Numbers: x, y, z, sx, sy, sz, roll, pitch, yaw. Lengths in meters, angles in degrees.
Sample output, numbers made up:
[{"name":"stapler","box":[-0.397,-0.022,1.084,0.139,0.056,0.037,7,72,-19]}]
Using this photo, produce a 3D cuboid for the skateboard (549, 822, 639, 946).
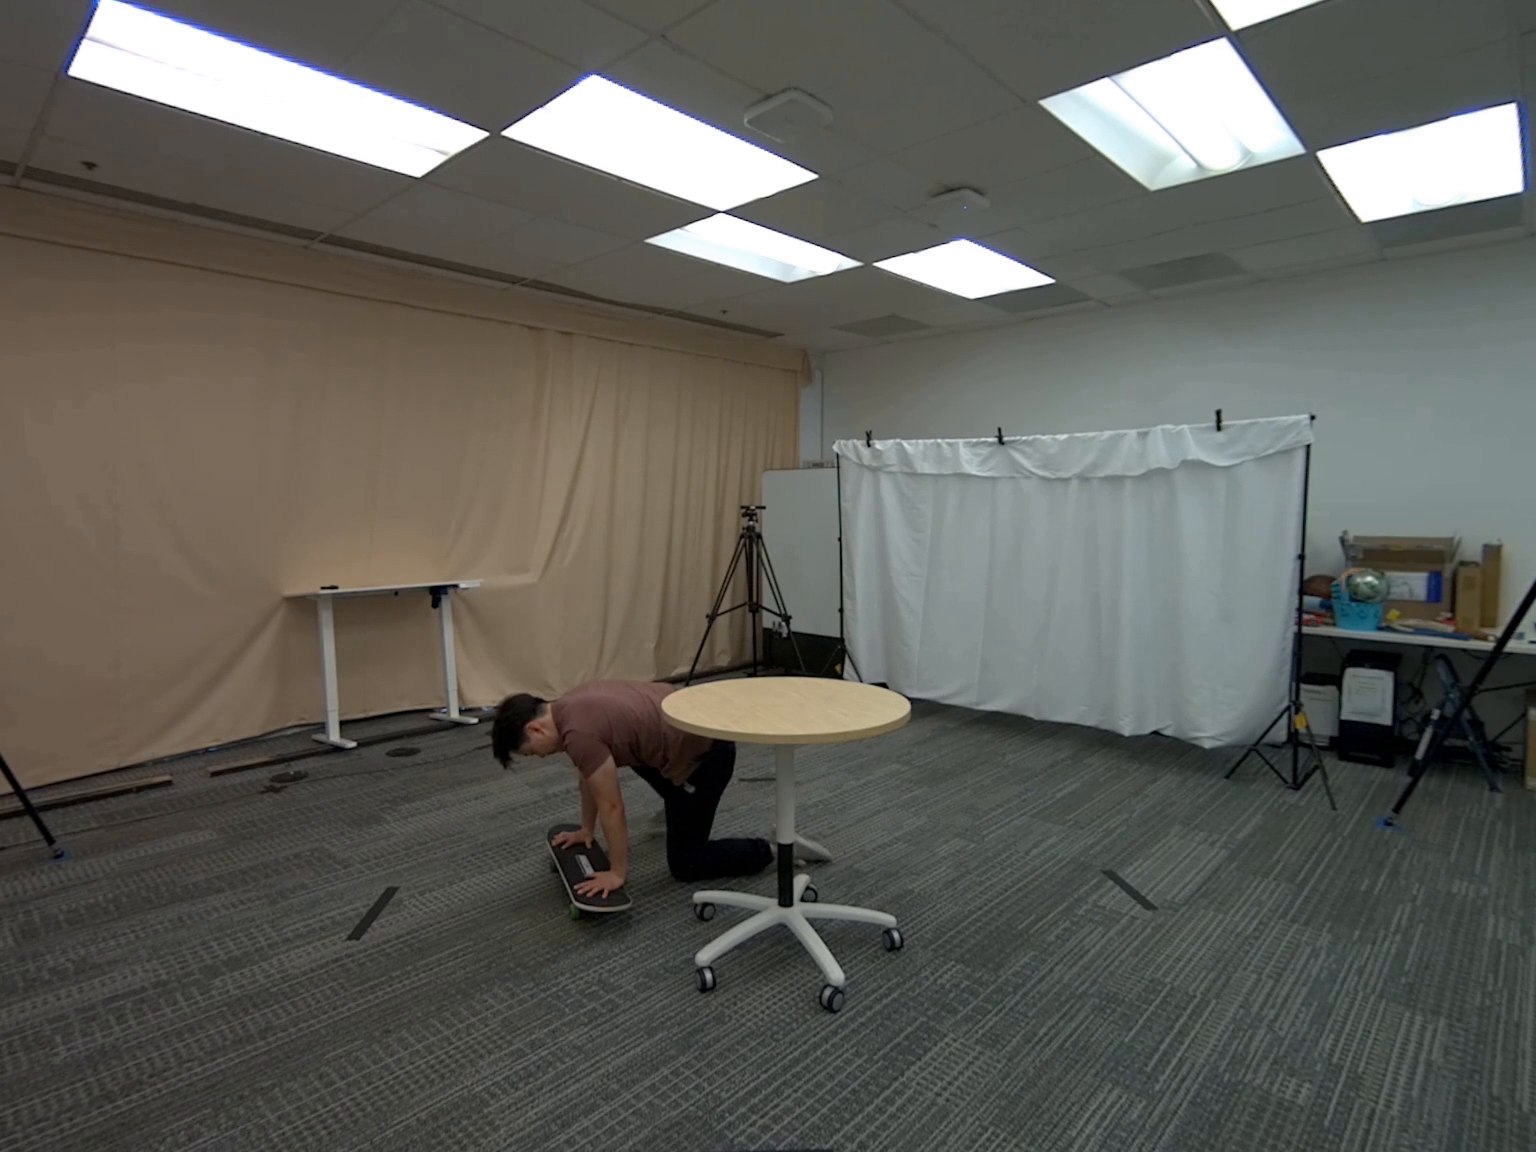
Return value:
[{"name":"skateboard","box":[-0.652,1.083,3.069,0.189,0.110,0.802,2,3,-20]}]
